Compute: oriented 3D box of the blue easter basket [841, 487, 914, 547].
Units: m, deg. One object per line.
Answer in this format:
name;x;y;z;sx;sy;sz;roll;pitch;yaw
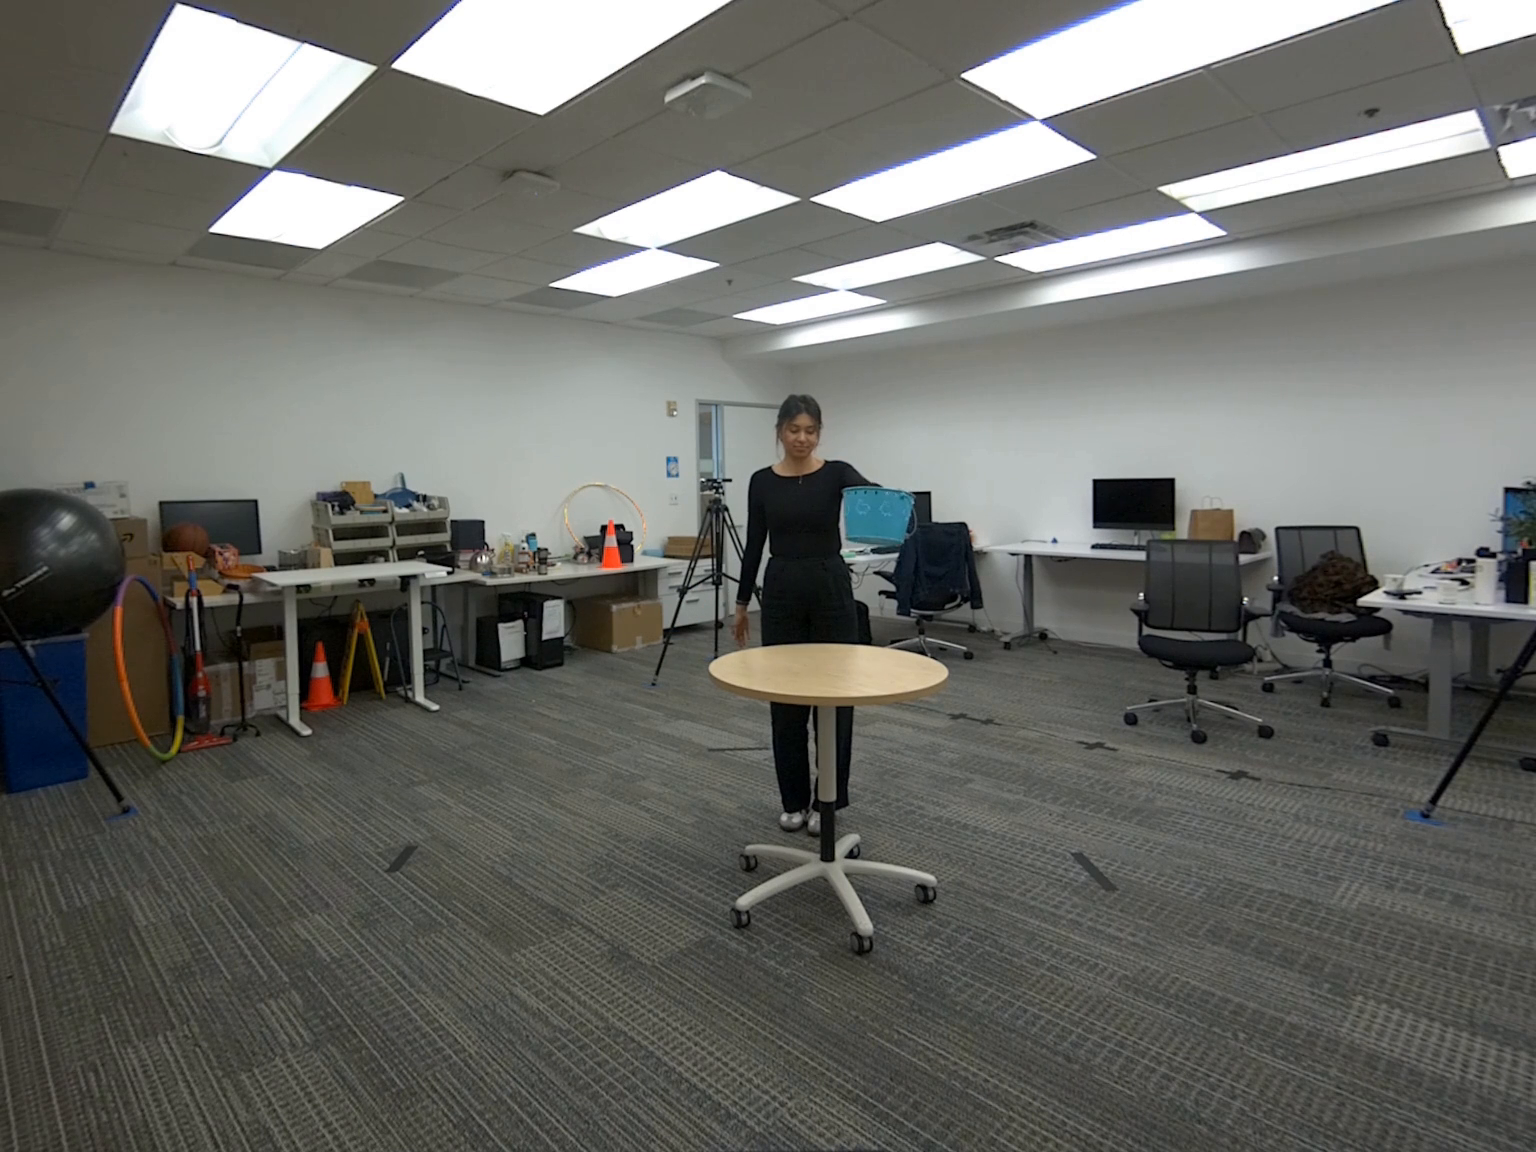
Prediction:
blue easter basket;0.361;-0.187;2.707;0.243;0.156;0.243;4;-2;-1
